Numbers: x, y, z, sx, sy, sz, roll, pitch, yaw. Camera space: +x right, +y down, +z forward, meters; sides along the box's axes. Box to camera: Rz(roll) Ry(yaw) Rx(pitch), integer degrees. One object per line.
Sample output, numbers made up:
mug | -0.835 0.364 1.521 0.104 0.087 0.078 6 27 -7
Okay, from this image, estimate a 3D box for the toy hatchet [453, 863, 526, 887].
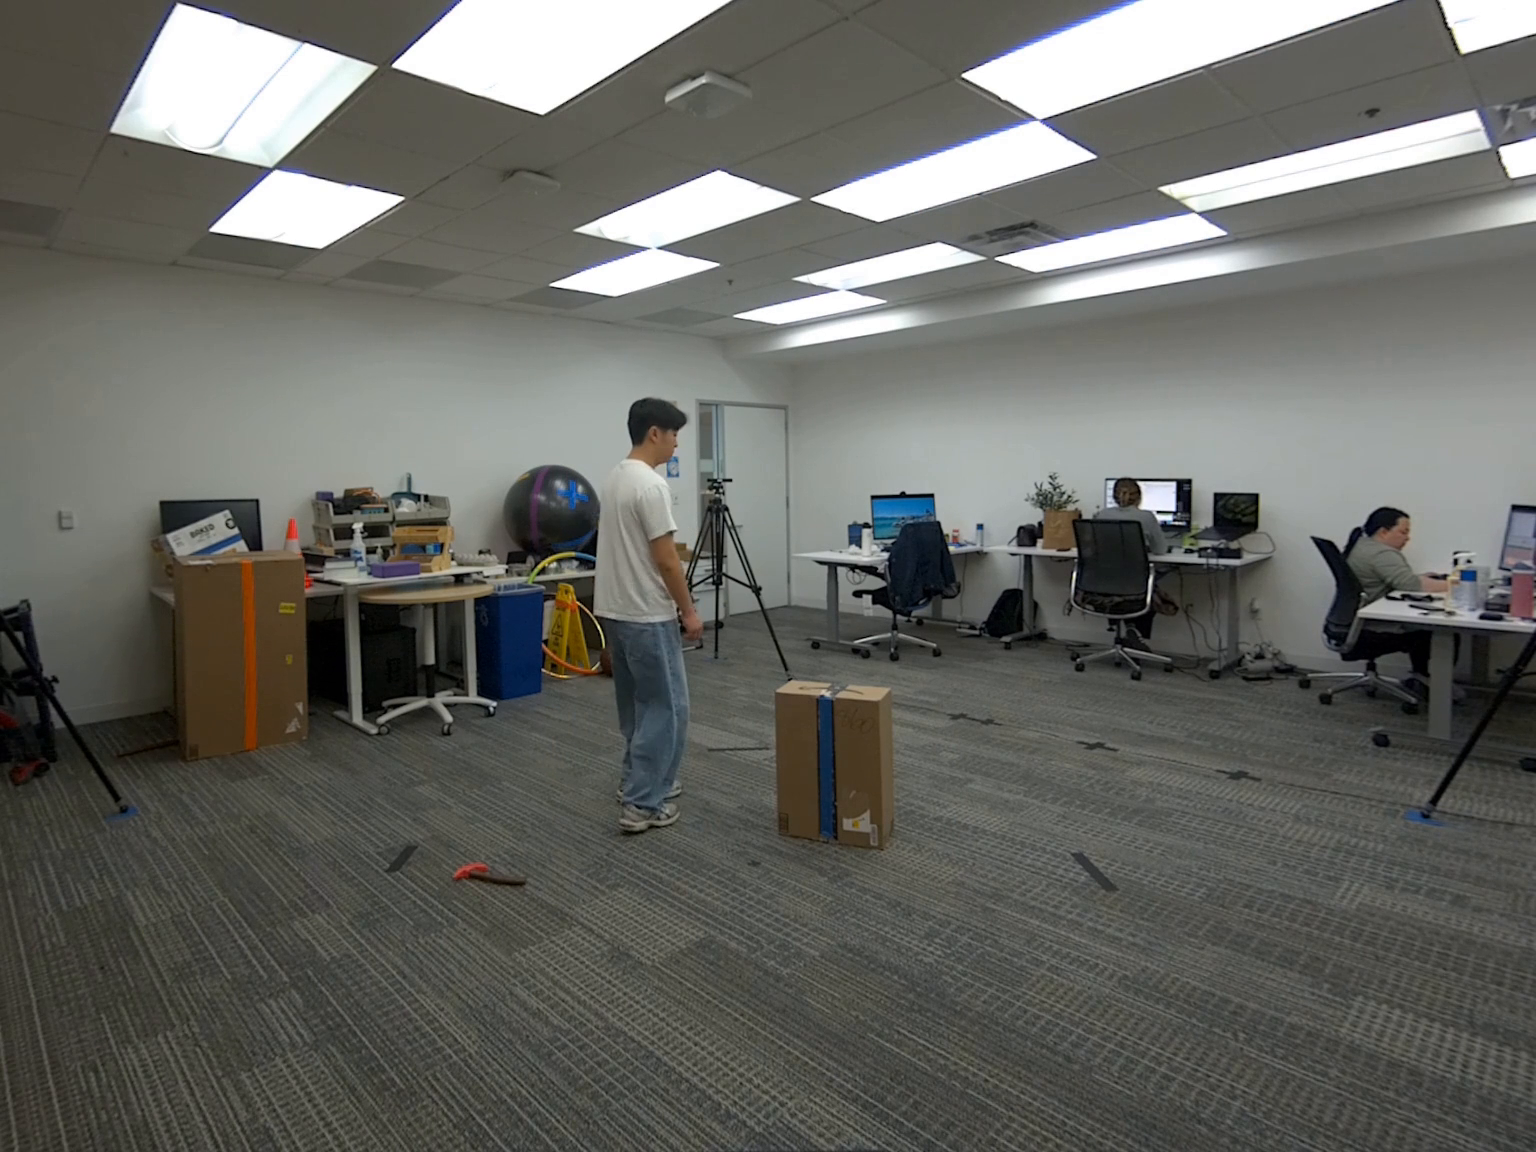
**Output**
toy hatchet | -0.969 1.058 3.045 0.273 0.029 0.130 2 3 9
